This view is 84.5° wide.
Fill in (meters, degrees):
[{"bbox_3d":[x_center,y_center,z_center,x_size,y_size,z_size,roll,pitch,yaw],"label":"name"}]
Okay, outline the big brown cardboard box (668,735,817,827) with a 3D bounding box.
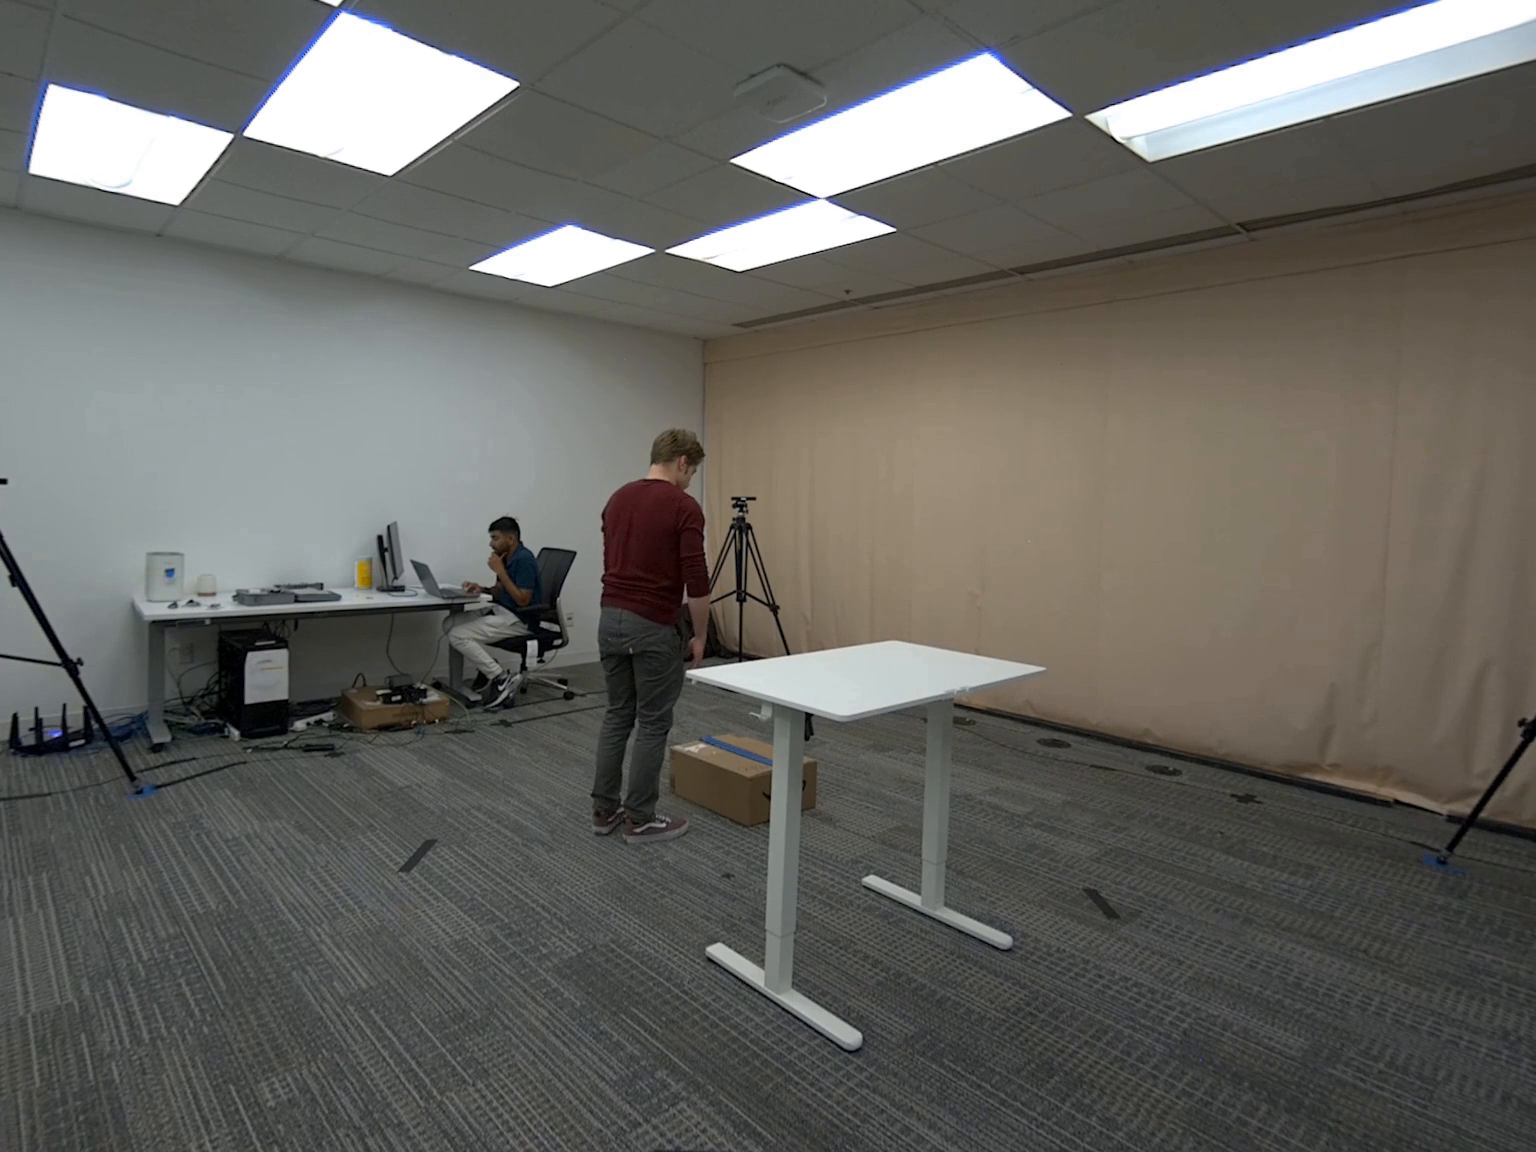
[{"bbox_3d":[-0.137,0.928,3.912,0.408,0.232,0.604,-2,6,-43],"label":"big brown cardboard box"}]
